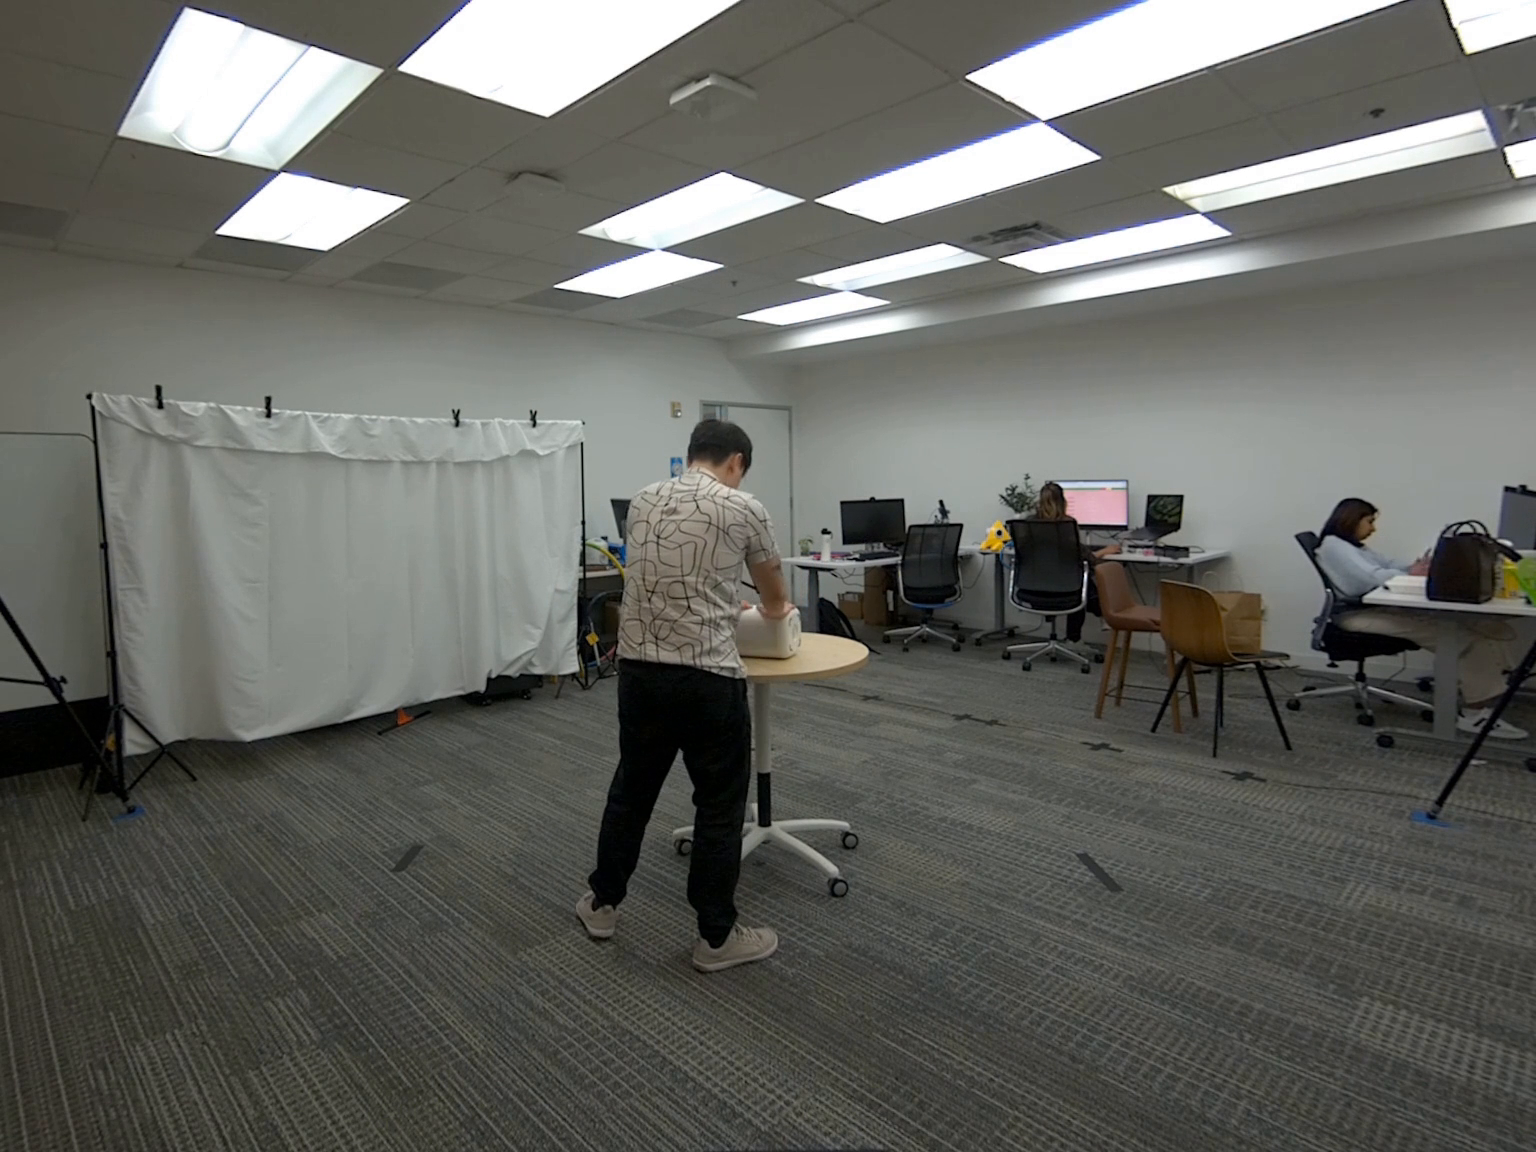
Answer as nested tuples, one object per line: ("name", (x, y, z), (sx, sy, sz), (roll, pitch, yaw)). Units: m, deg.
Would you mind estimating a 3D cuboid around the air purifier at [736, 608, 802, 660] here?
("air purifier", (-0.025, 0.189, 3.005), (0.271, 0.171, 0.168), (1, 6, 24))
